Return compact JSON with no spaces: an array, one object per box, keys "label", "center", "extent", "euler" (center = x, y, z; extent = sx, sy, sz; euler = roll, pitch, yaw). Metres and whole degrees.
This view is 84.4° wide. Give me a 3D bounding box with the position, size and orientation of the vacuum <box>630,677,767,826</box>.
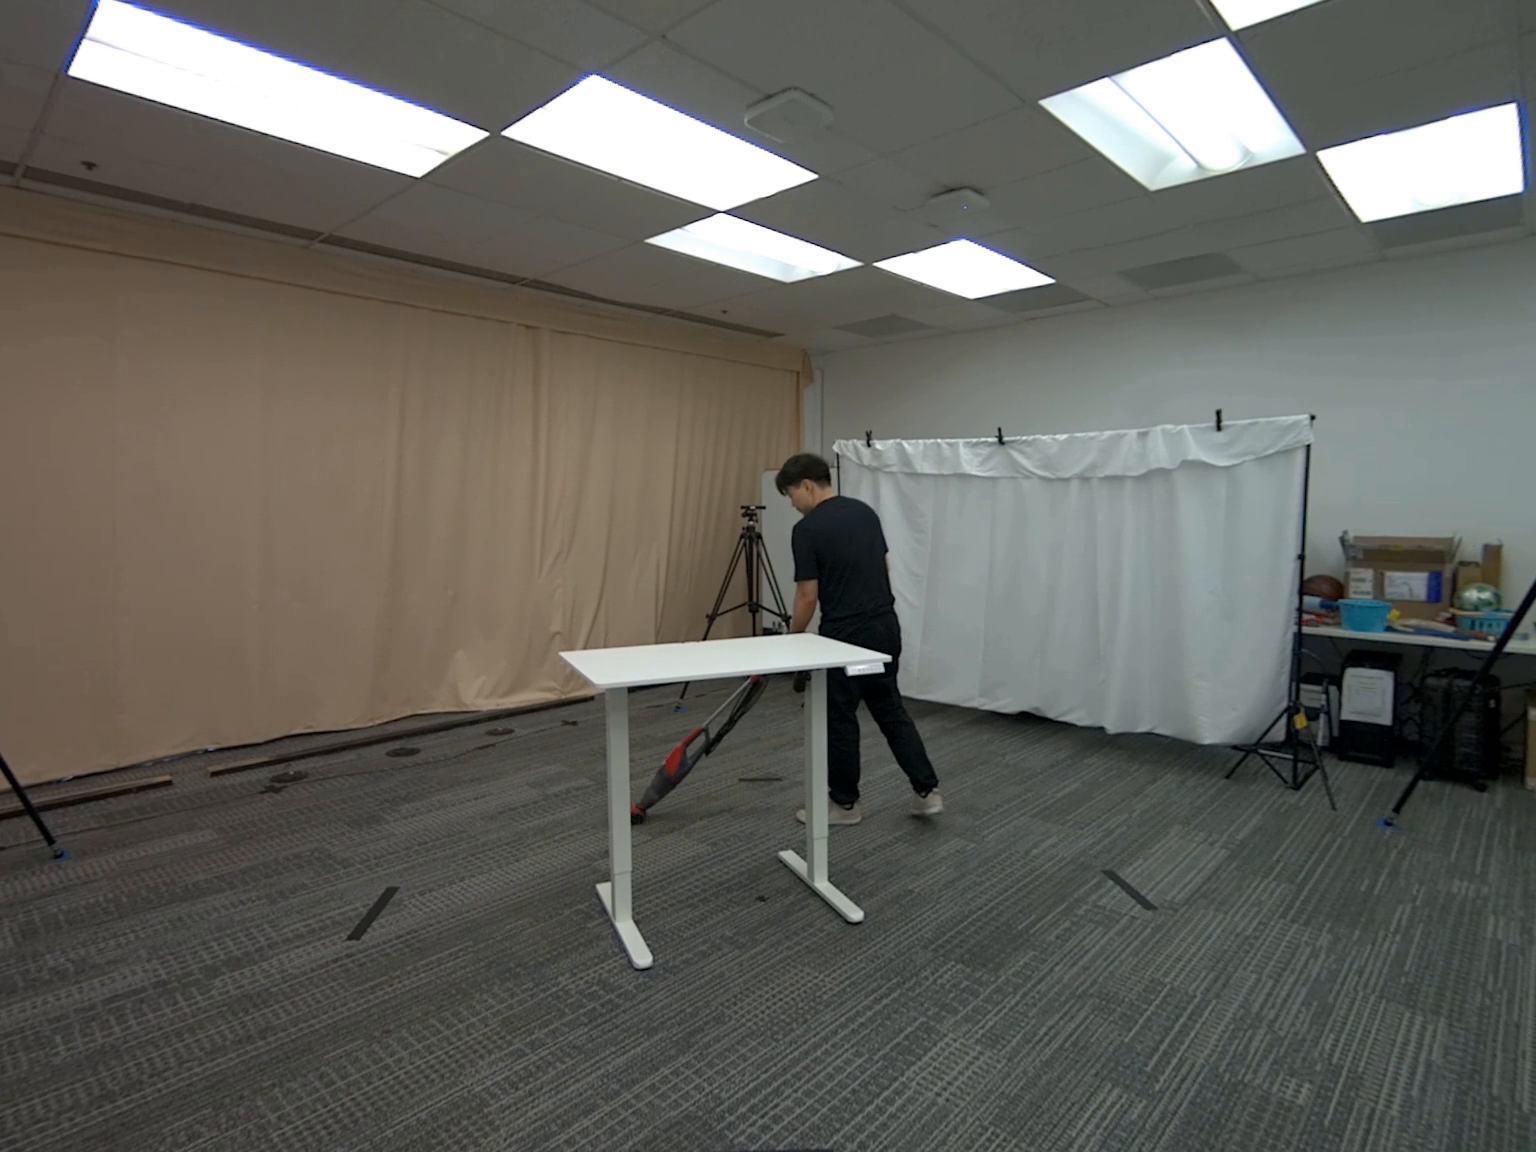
[{"label":"vacuum","center":[-0.251,0.700,3.744],"extent":[1.050,0.143,0.255],"euler":[-45,9,1]}]
